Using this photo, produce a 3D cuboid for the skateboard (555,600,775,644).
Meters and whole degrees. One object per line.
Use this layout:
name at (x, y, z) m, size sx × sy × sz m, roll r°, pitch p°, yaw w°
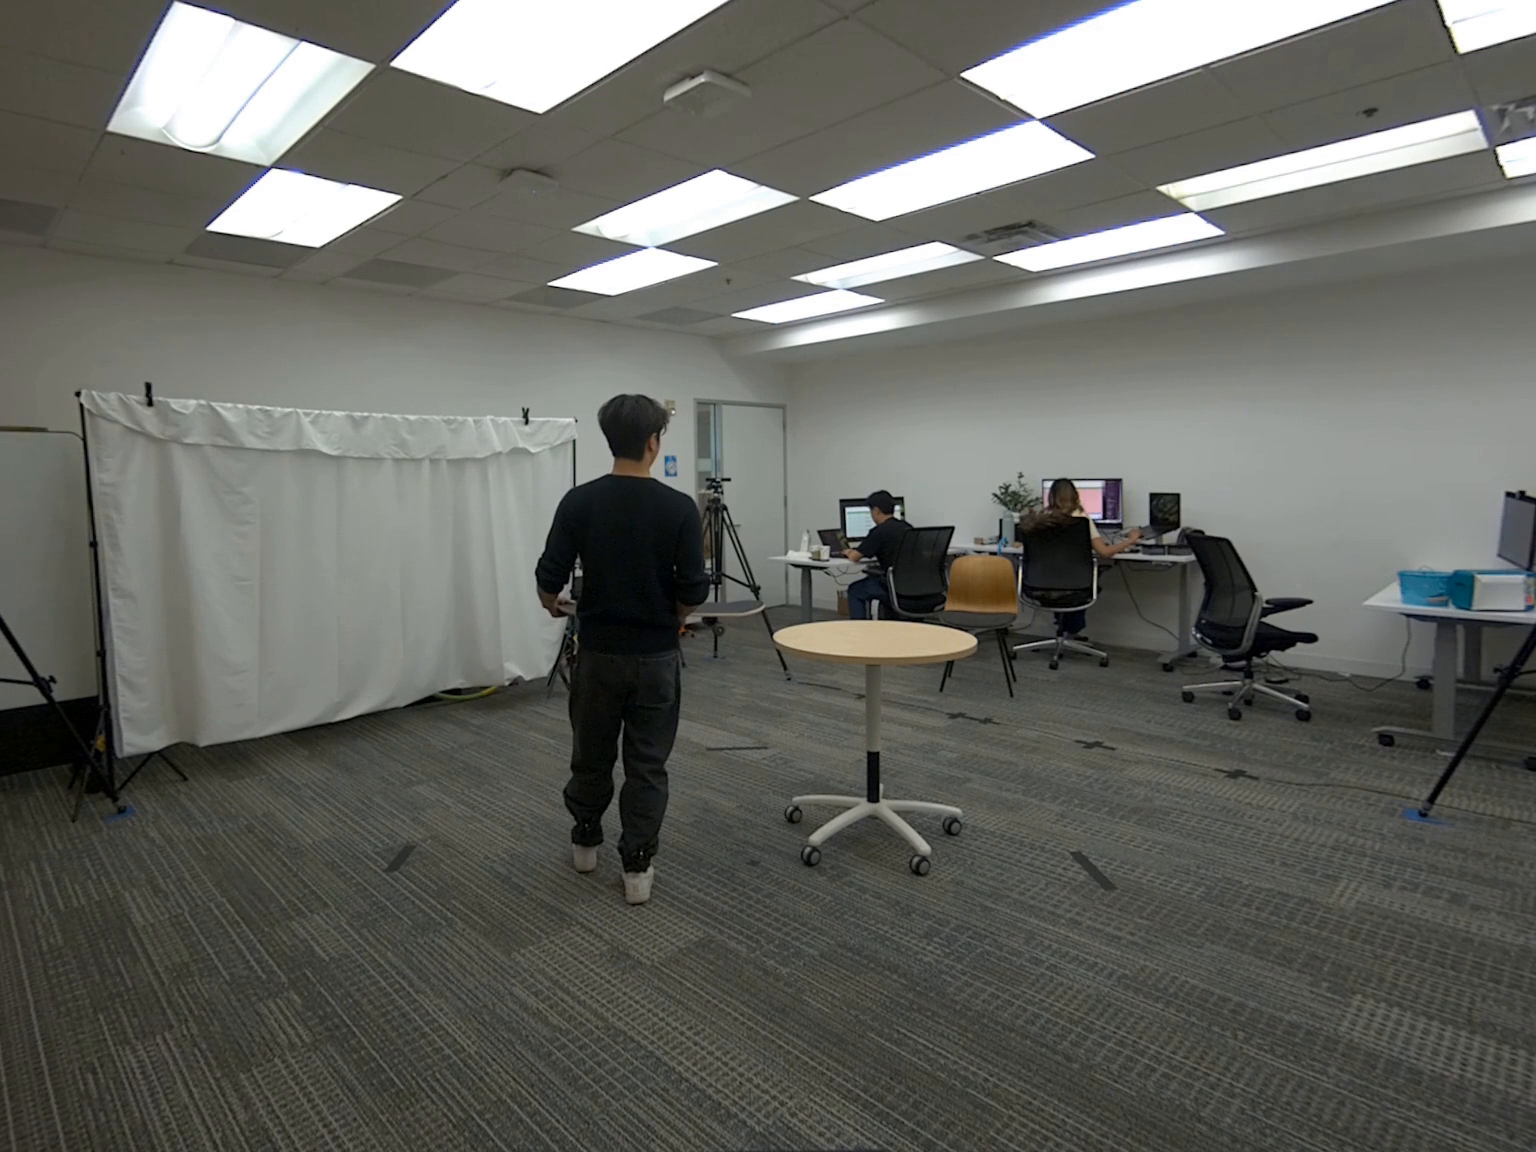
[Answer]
skateboard at (-0.385, 0.164, 3.195) m, size 0.772 × 0.109 × 0.198 m, roll 0°, pitch 9°, yaw -17°
